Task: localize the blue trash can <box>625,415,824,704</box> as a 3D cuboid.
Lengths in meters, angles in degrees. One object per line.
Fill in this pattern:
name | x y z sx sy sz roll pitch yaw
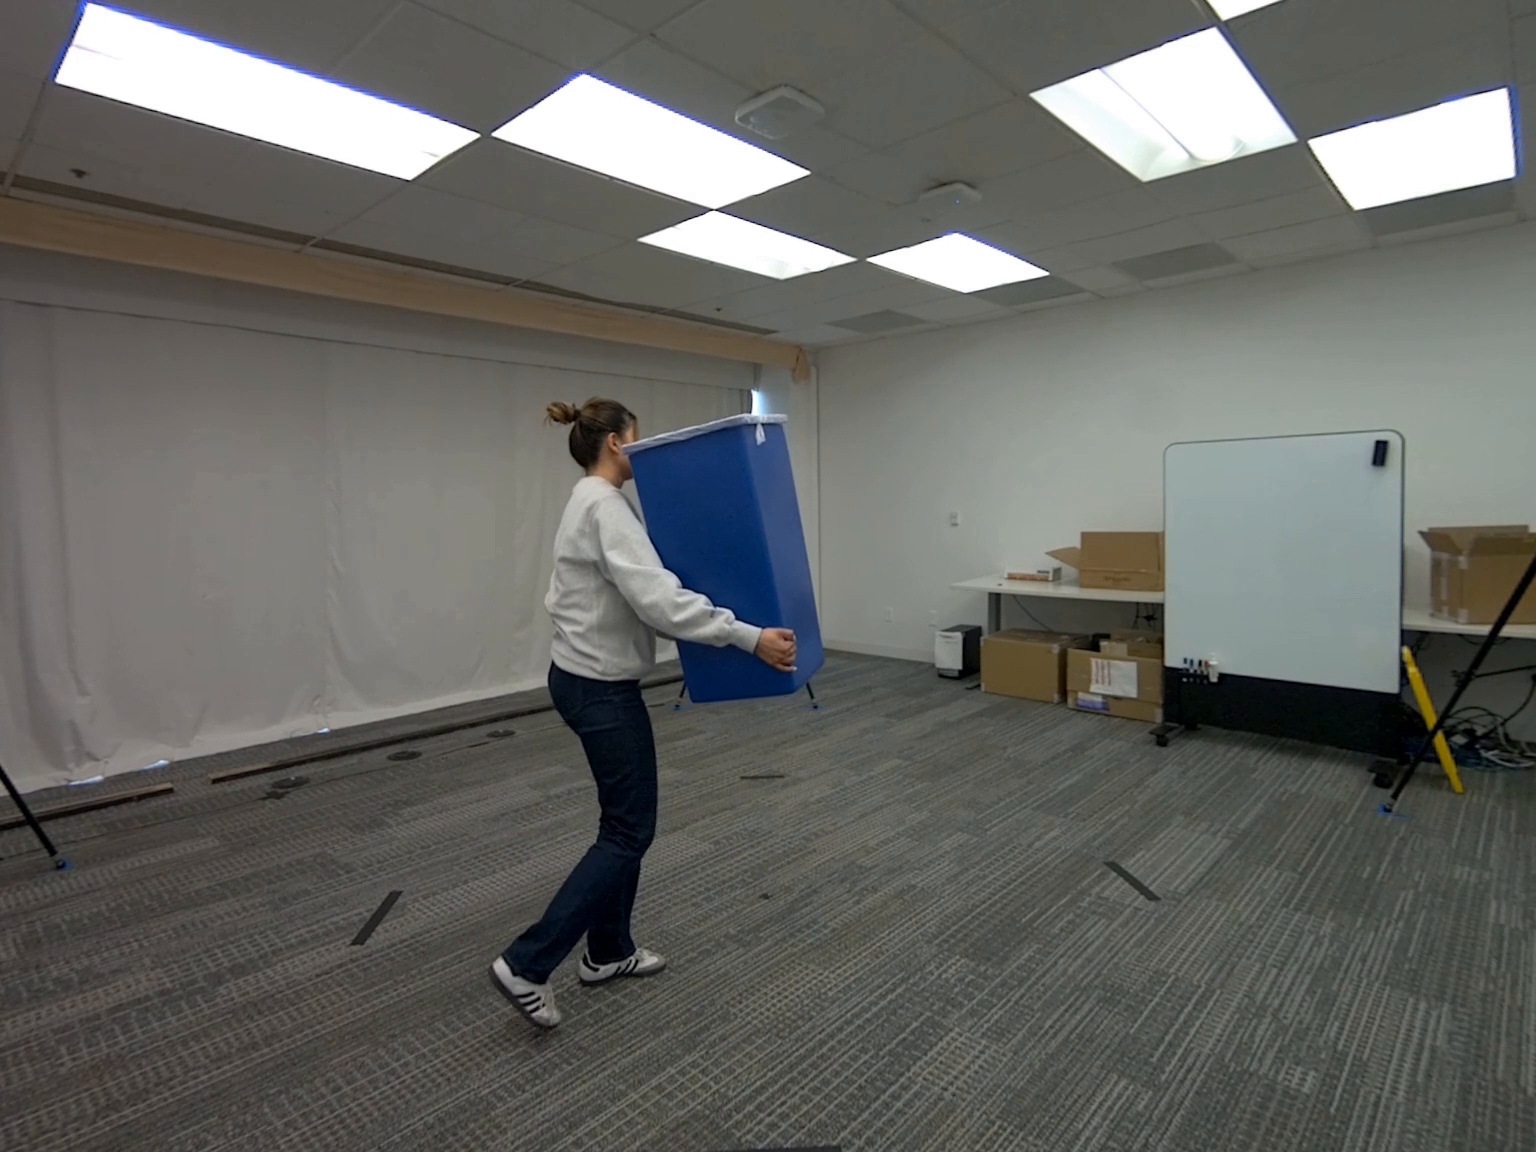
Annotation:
blue trash can | -0.095 -0.049 2.295 0.382 0.712 0.371 -10 3 22
